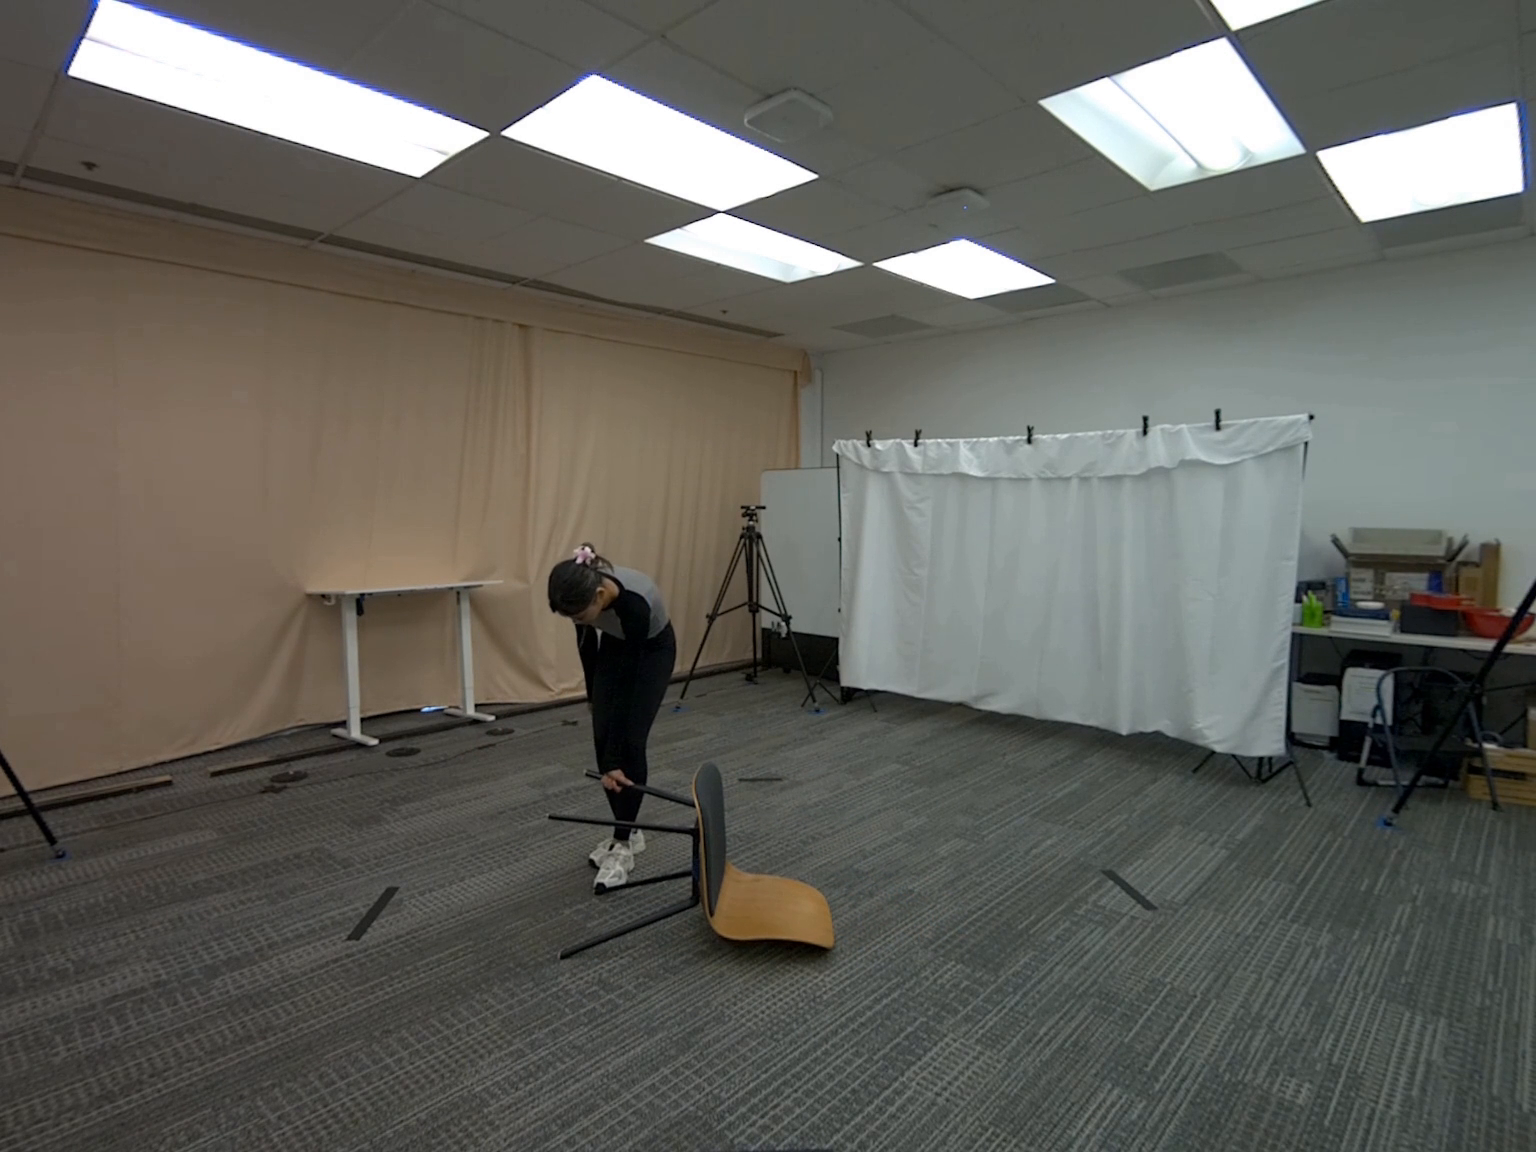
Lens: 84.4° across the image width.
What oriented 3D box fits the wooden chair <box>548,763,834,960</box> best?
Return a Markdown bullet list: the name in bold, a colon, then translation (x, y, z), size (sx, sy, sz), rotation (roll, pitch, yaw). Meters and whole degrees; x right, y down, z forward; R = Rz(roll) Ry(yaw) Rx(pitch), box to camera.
- **wooden chair**: translation (-0.214, 0.905, 2.747), size (0.884, 0.522, 0.476), rotation (1, 4, 6)
